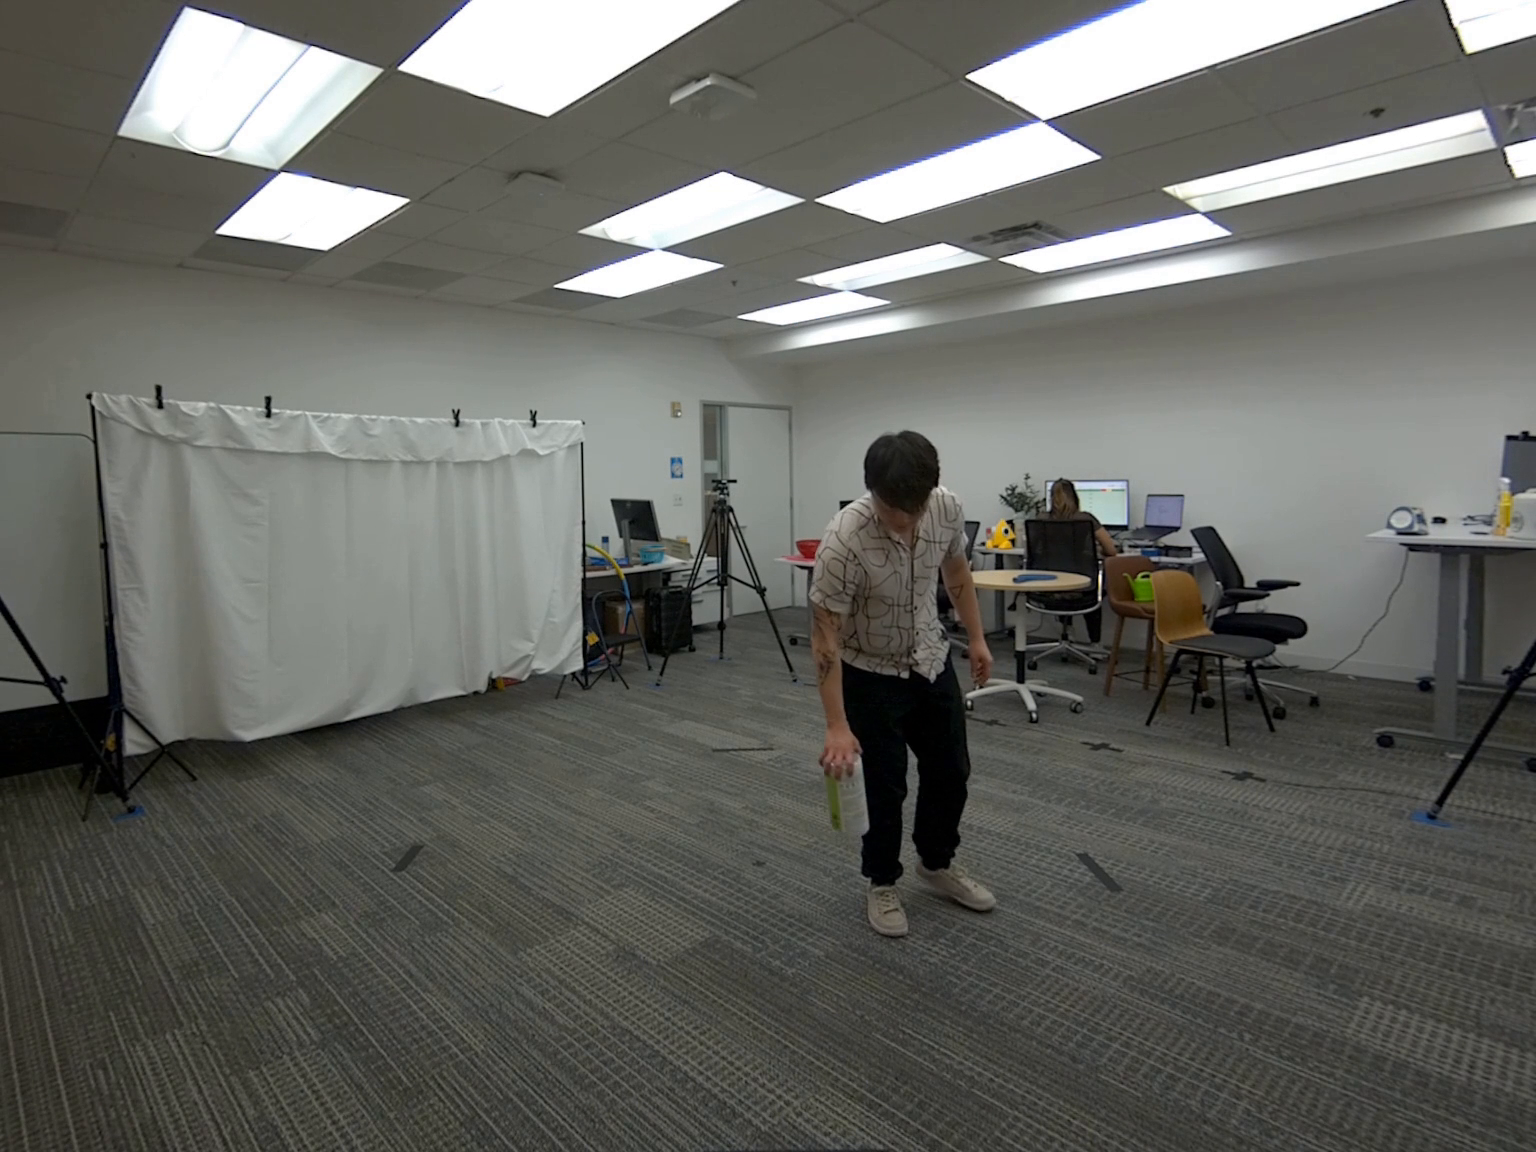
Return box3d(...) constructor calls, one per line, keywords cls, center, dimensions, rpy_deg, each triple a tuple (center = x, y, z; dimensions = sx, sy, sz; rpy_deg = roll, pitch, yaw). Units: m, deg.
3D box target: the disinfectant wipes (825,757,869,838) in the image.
box3d(cls="disinfectant wipes", center=(0.226, 0.620, 2.406), dimensions=(0.118, 0.216, 0.119), rpy_deg=(-7, 8, -1))
